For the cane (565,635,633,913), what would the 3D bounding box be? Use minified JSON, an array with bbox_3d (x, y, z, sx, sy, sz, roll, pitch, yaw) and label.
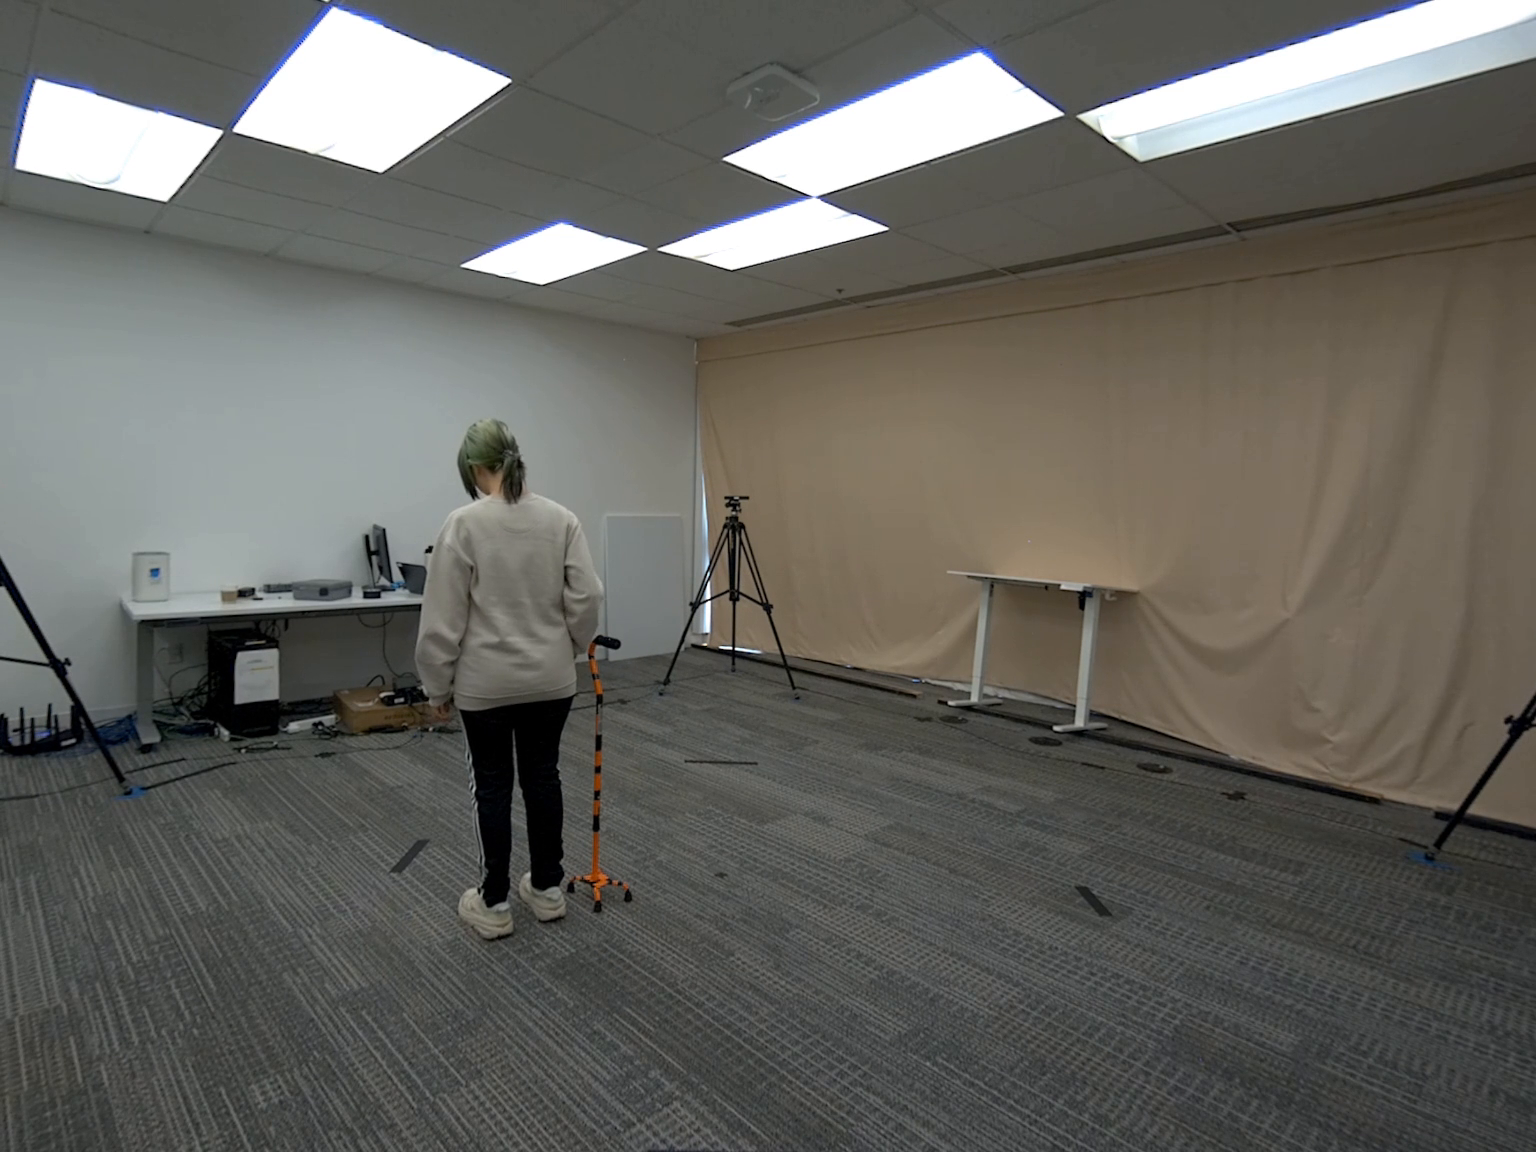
[{"bbox_3d":[-0.581,0.659,2.896,0.148,0.906,0.211,-1,4,-38],"label":"cane"}]
